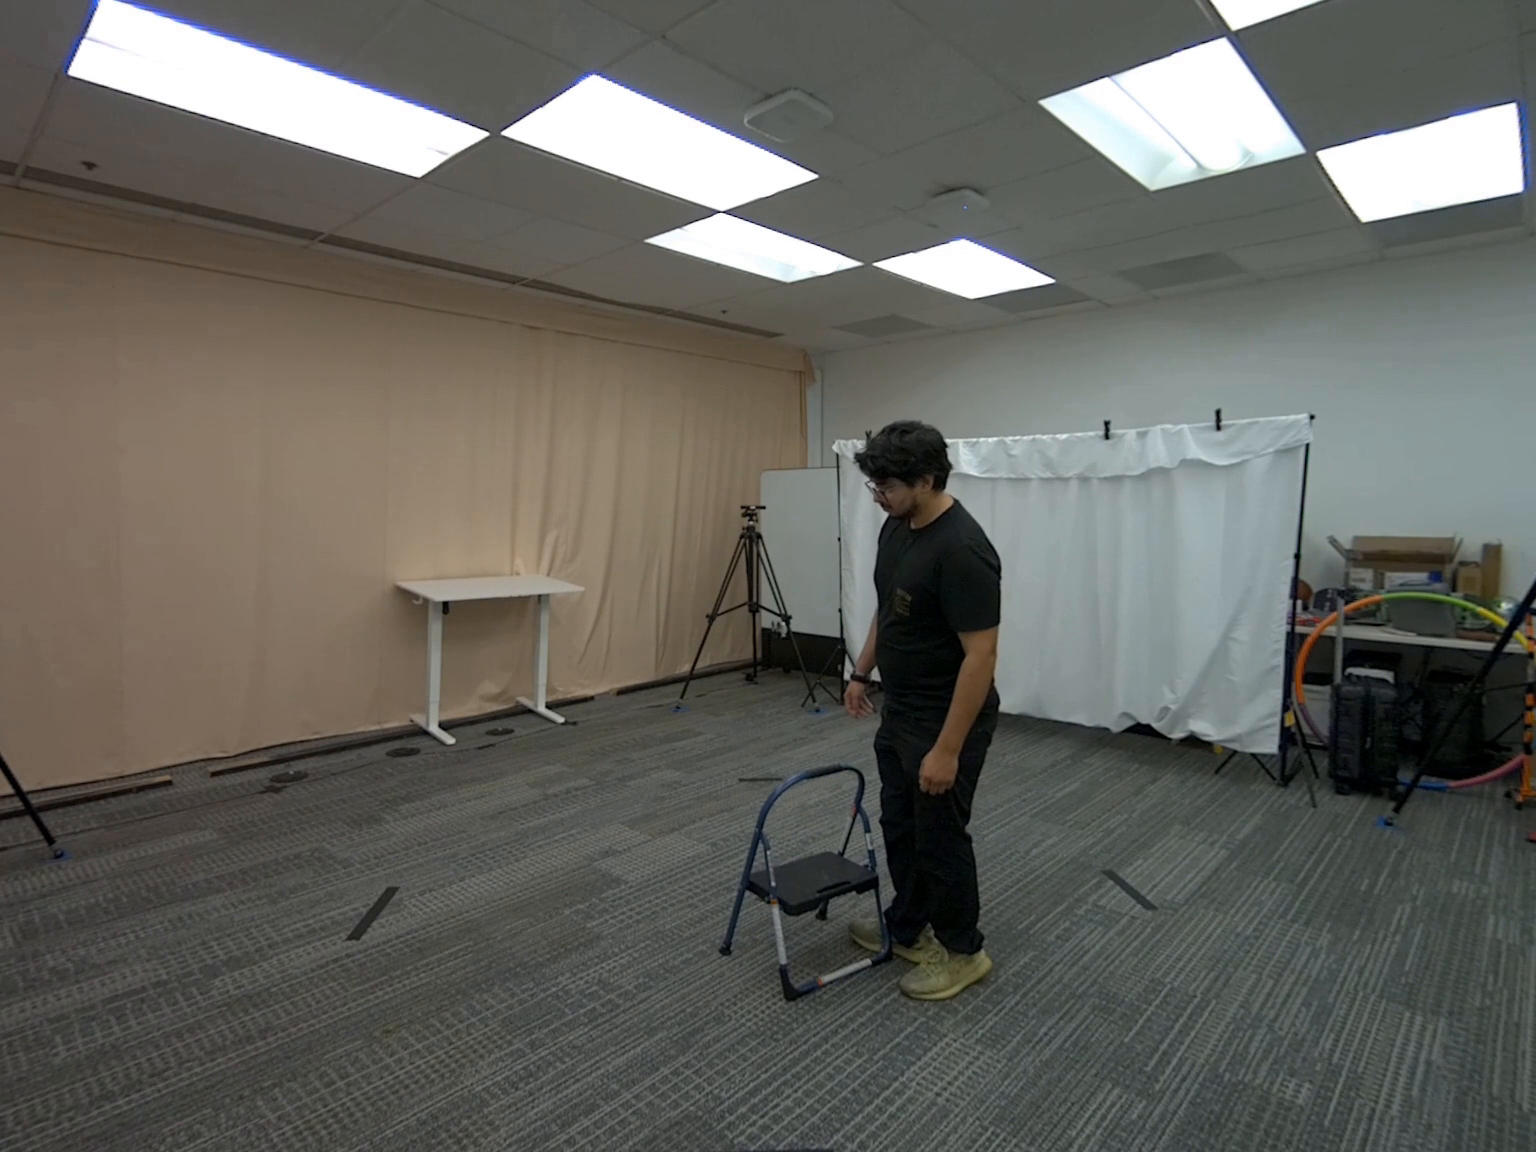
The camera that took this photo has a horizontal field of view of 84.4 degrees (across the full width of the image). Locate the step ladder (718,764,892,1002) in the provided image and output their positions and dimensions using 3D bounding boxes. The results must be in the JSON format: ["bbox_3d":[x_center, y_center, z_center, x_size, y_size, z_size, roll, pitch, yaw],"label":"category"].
[{"bbox_3d":[0.117,0.876,2.600,0.418,0.605,0.360,-2,4,-35],"label":"step ladder"}]
